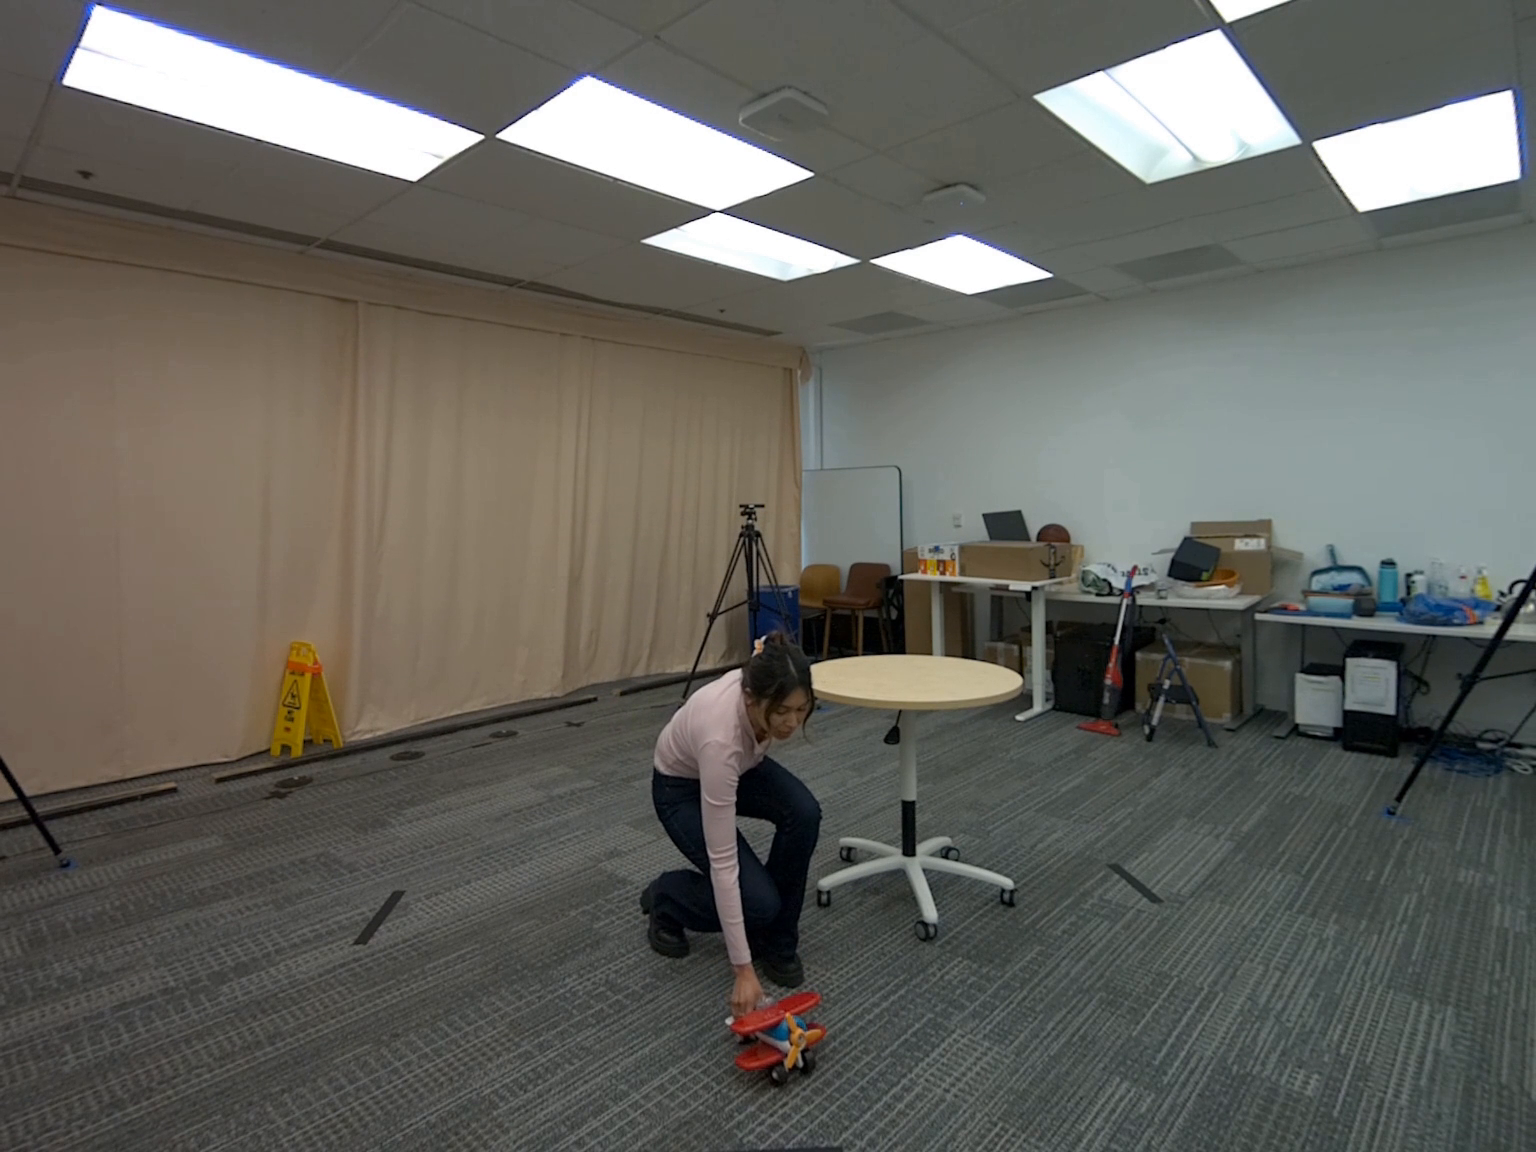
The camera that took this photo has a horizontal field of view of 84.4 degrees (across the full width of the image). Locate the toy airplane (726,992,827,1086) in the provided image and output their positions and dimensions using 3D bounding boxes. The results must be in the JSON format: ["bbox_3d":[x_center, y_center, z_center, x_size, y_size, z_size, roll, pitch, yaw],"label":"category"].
[{"bbox_3d":[-0.004,1.140,2.103,0.266,0.156,0.245,2,5,28],"label":"toy airplane"}]
